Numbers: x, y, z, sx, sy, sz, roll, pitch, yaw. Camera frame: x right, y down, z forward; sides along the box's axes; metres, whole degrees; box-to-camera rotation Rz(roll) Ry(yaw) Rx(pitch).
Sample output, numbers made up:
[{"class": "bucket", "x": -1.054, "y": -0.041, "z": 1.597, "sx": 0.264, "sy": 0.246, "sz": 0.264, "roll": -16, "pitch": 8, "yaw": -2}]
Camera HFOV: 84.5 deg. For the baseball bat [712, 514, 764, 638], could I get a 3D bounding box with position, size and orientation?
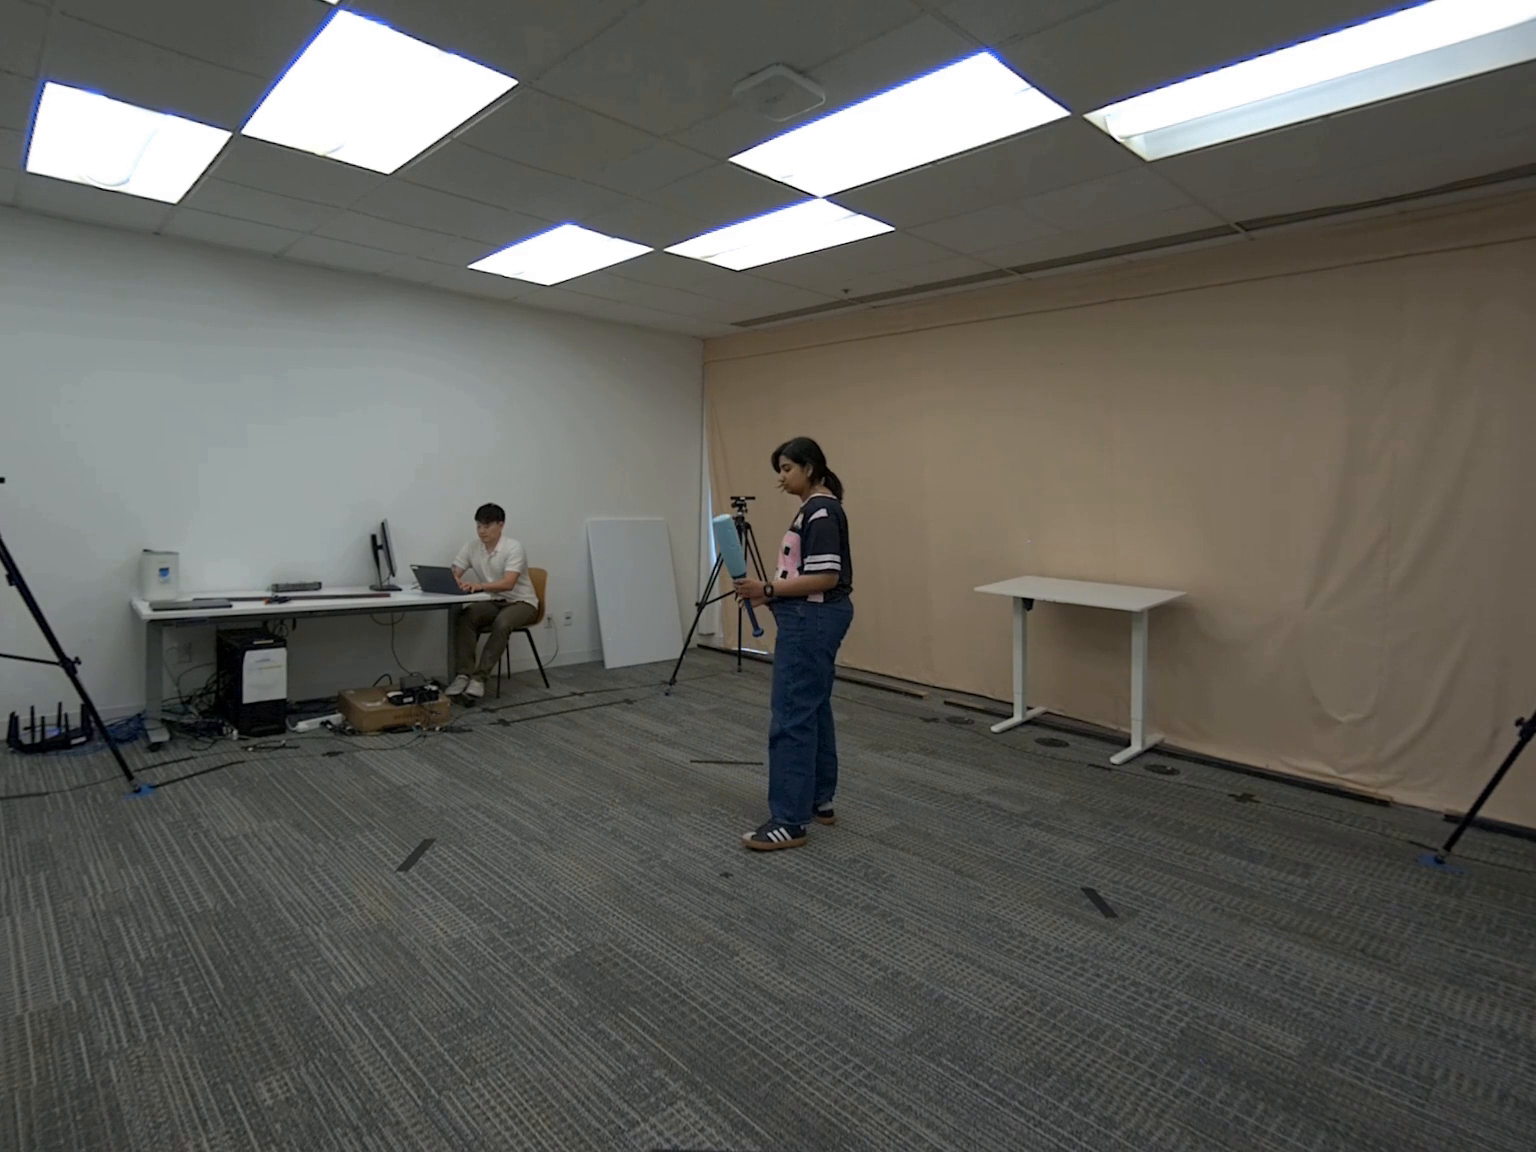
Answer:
[{"class": "baseball bat", "x": -0.125, "y": 0.007, "z": 3.465, "sx": 0.089, "sy": 0.535, "sz": 0.090, "roll": -15, "pitch": 16, "yaw": 3}]
